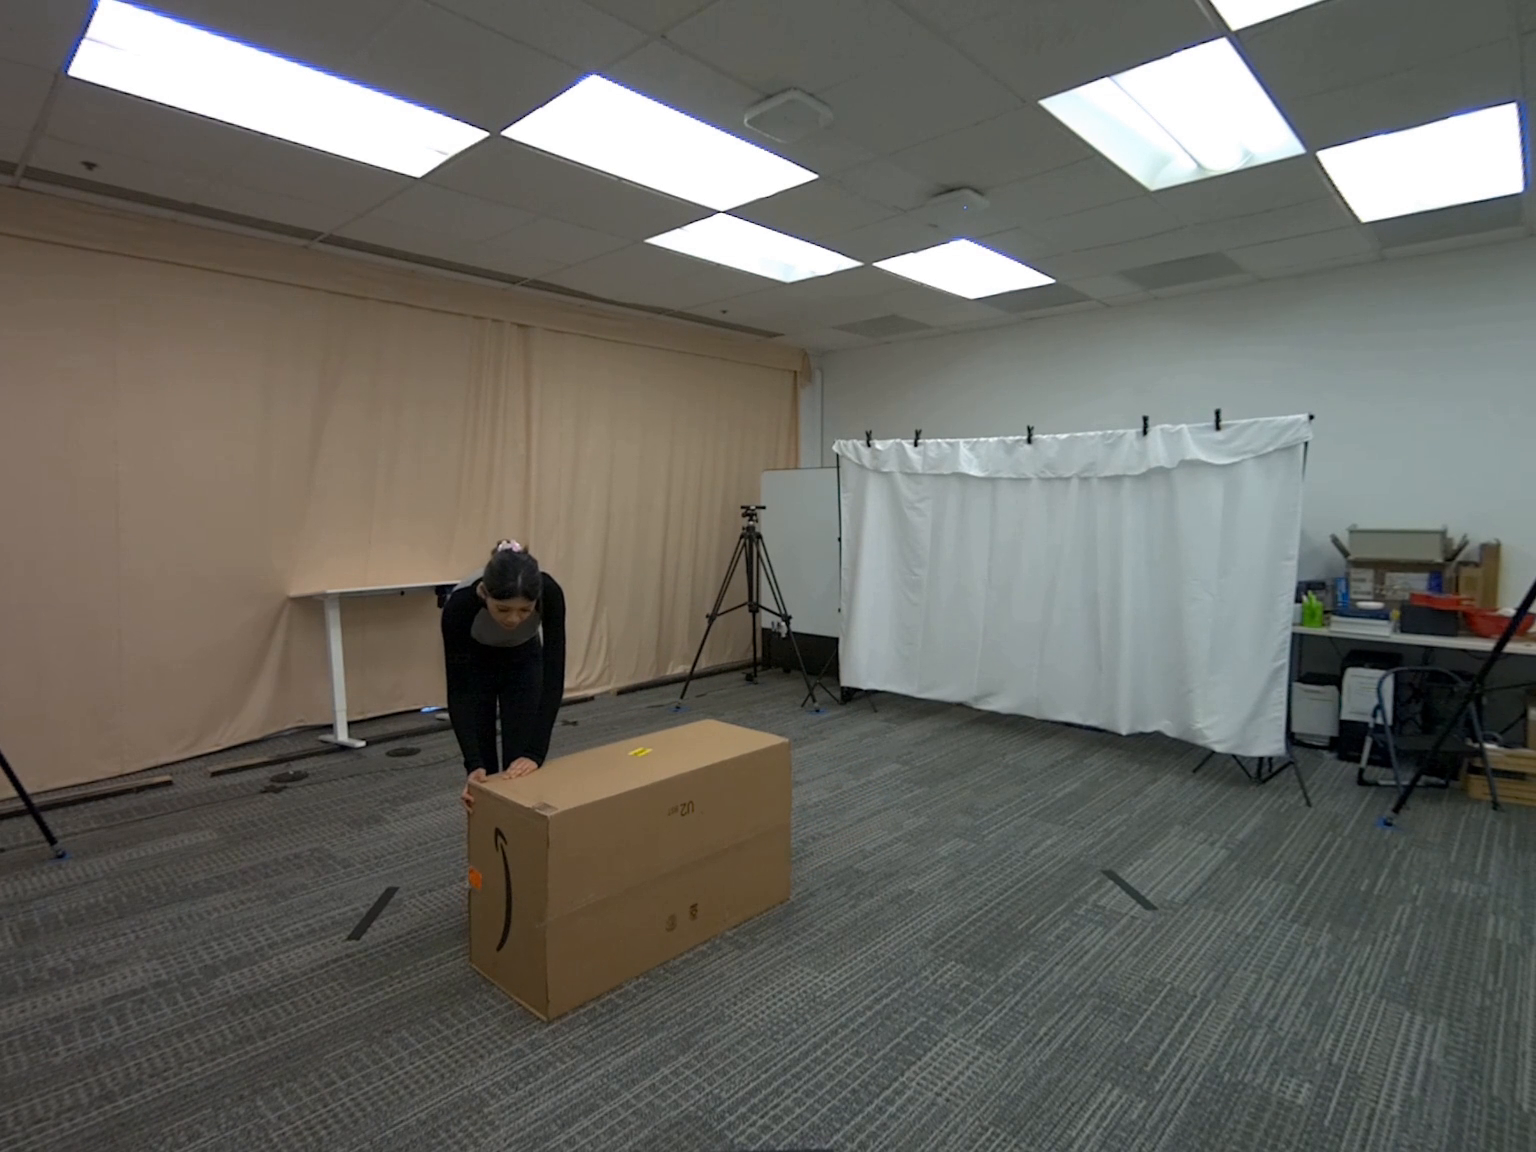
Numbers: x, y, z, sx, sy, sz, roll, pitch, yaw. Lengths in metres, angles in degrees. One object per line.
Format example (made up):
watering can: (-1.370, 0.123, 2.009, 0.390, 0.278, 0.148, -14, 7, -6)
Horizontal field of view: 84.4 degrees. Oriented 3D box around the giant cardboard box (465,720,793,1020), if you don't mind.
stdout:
giant cardboard box: (-0.409, 0.879, 2.758, 0.461, 0.583, 0.996, 2, 4, 42)
